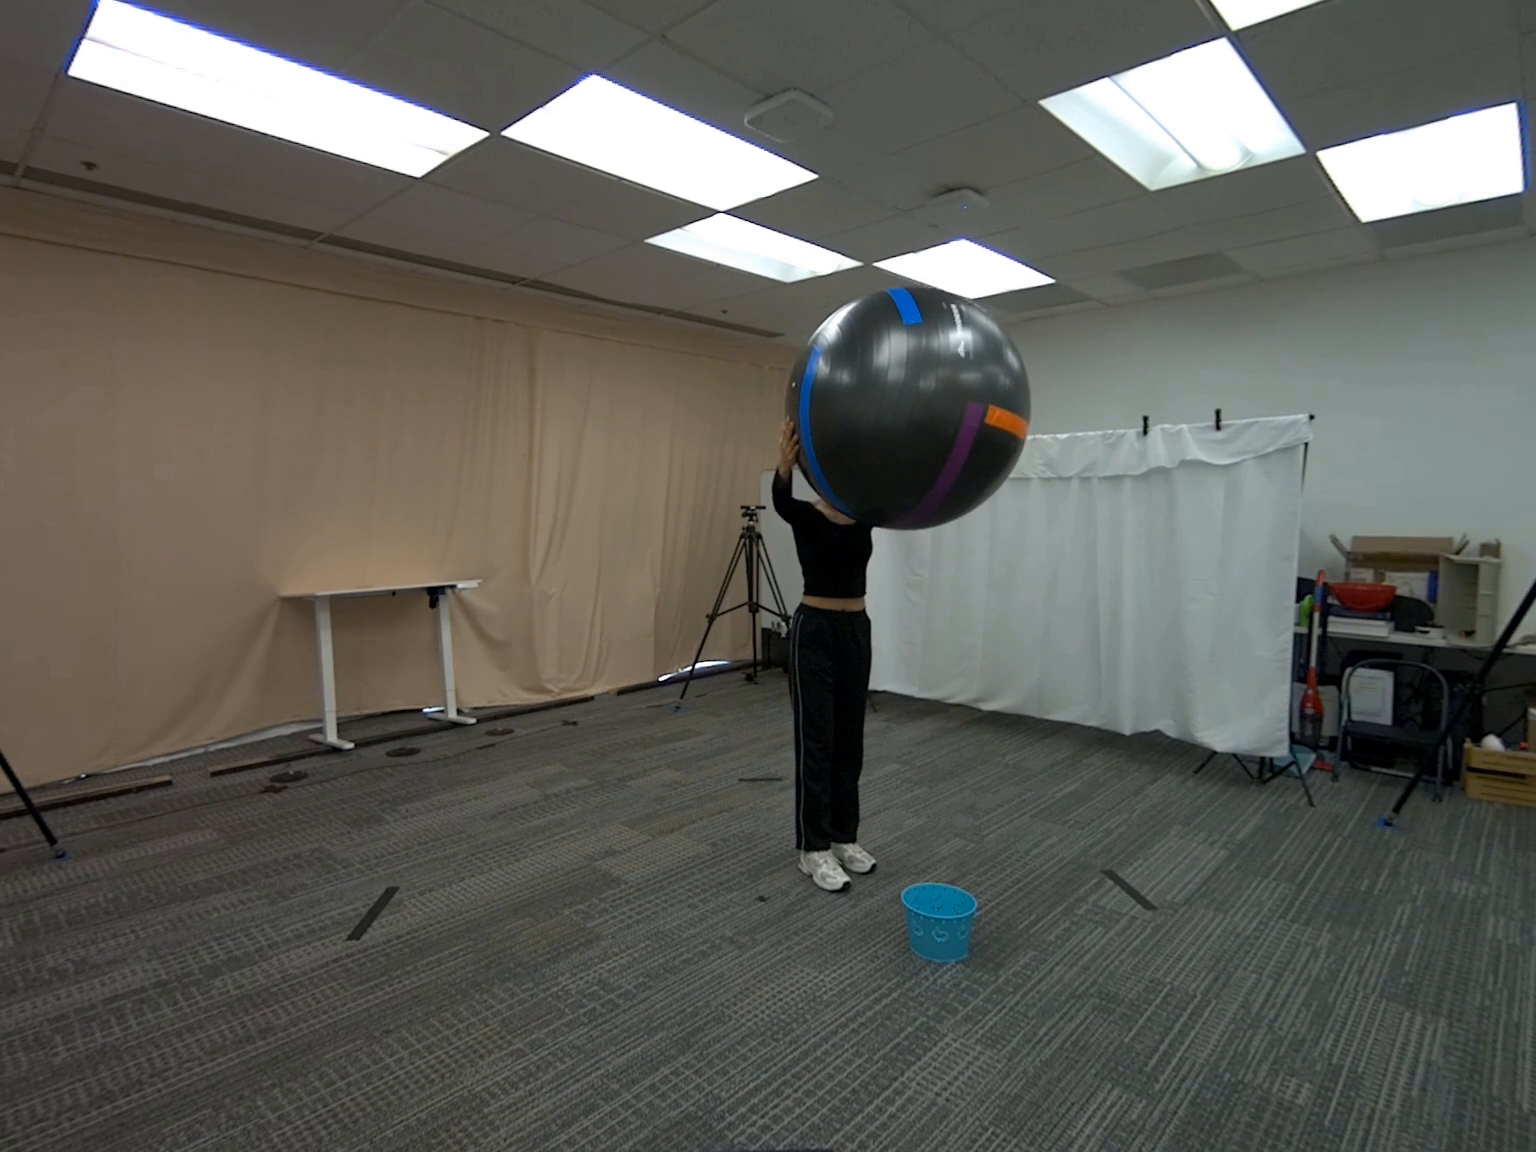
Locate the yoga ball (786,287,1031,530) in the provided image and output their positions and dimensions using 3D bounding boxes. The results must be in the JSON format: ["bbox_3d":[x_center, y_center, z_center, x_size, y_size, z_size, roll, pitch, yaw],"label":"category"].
[{"bbox_3d":[0.435,-0.511,2.661,0.757,0.756,0.760,0,4,-2],"label":"yoga ball"}]
